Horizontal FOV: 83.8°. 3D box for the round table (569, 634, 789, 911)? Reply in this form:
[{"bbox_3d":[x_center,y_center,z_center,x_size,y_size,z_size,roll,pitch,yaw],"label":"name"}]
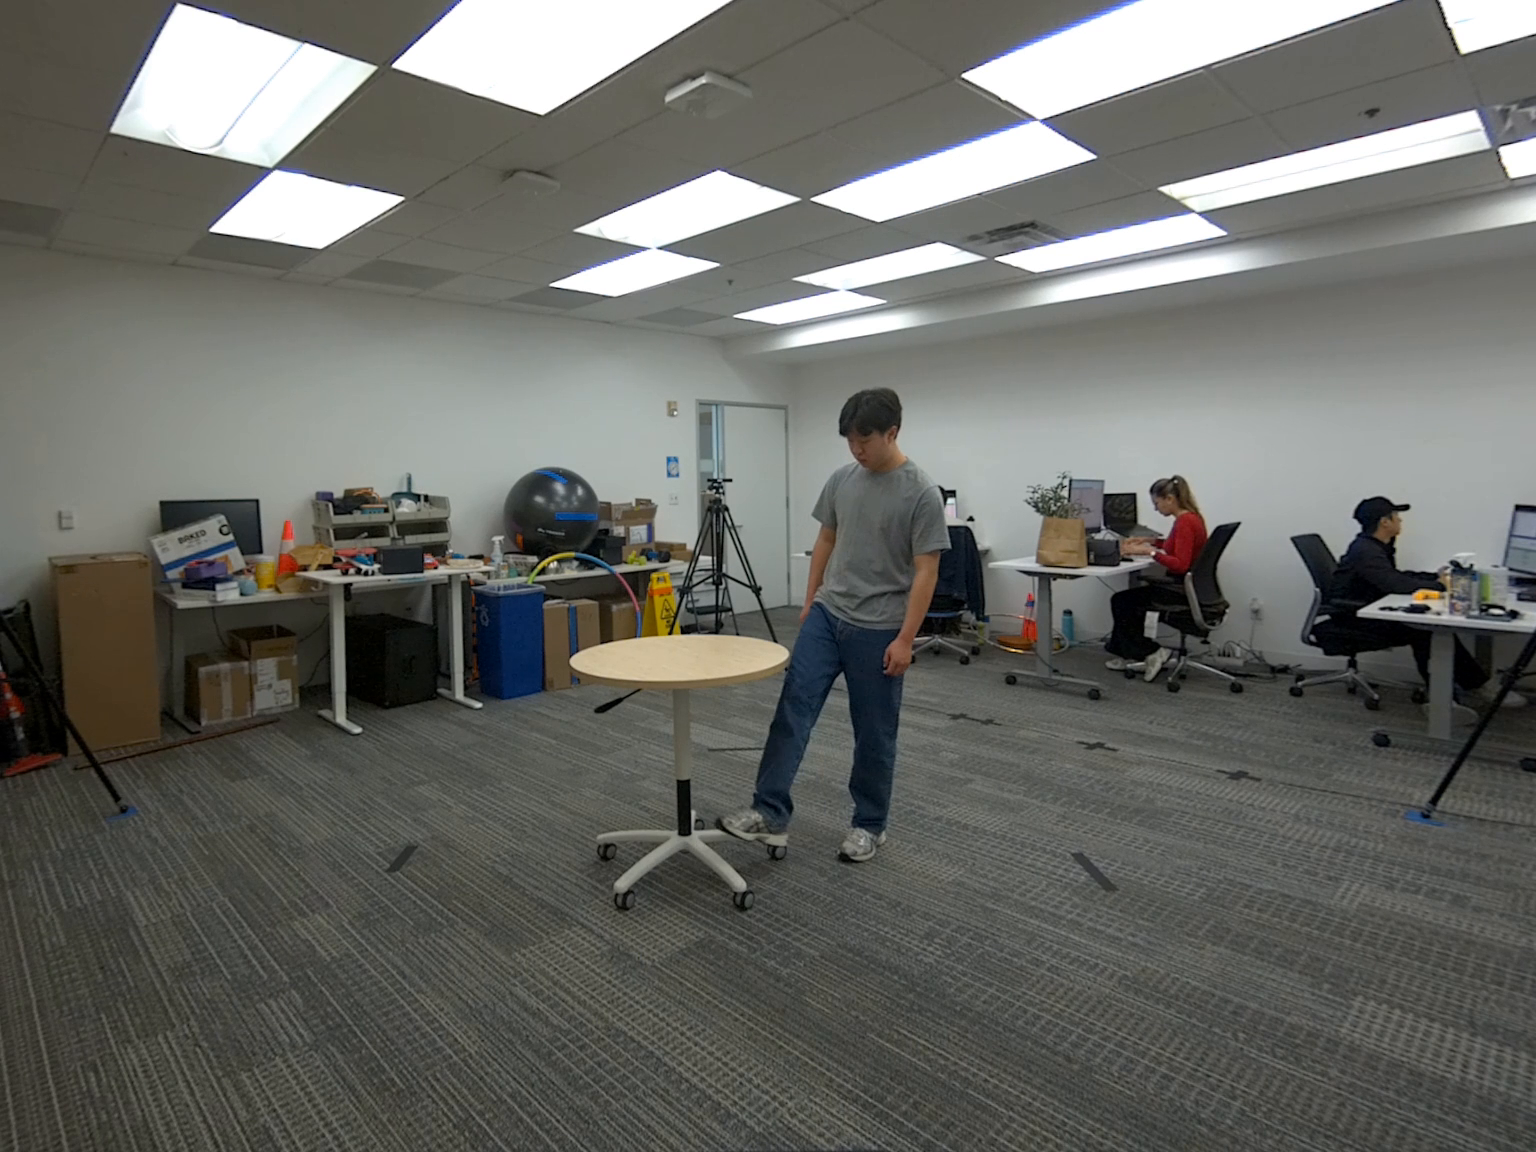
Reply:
[{"bbox_3d":[-0.298,0.670,3.029,0.763,0.791,0.768,-2,5,-2],"label":"round table"}]
